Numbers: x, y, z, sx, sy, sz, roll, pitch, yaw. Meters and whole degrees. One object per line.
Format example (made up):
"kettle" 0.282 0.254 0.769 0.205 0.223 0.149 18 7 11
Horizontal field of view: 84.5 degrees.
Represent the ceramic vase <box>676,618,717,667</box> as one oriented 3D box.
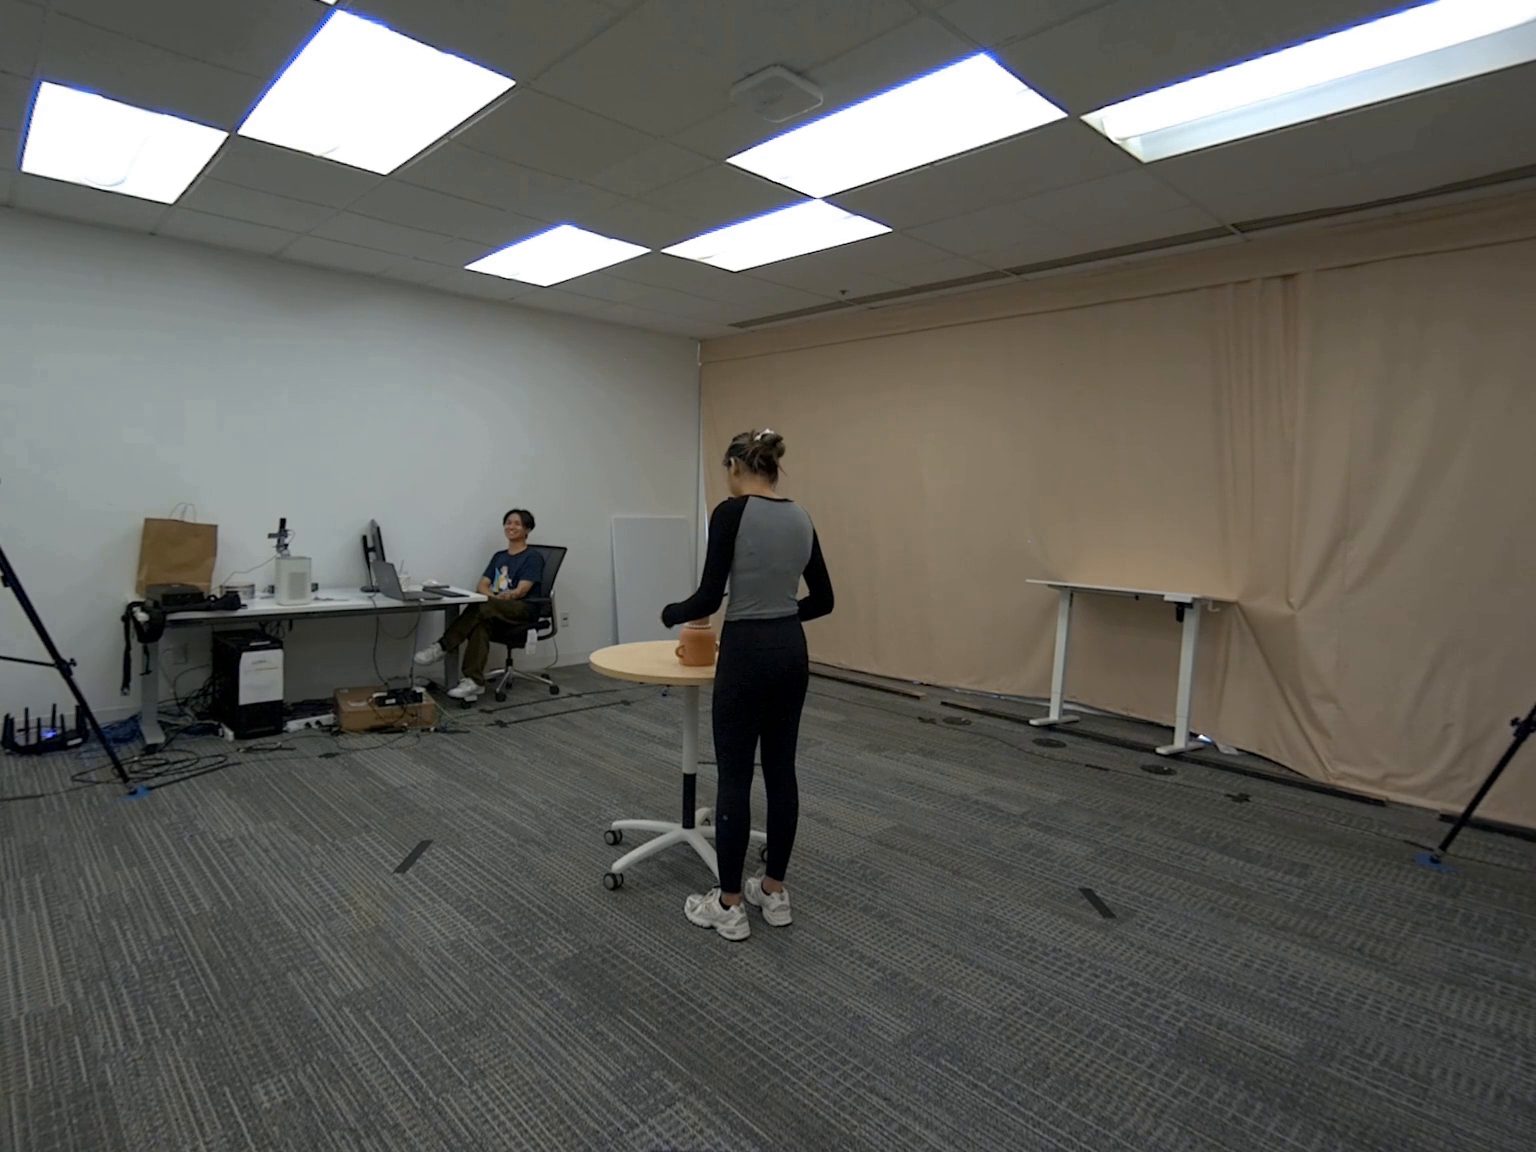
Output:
"ceramic vase" -0.254 0.205 3.038 0.135 0.219 0.158 4 4 5
